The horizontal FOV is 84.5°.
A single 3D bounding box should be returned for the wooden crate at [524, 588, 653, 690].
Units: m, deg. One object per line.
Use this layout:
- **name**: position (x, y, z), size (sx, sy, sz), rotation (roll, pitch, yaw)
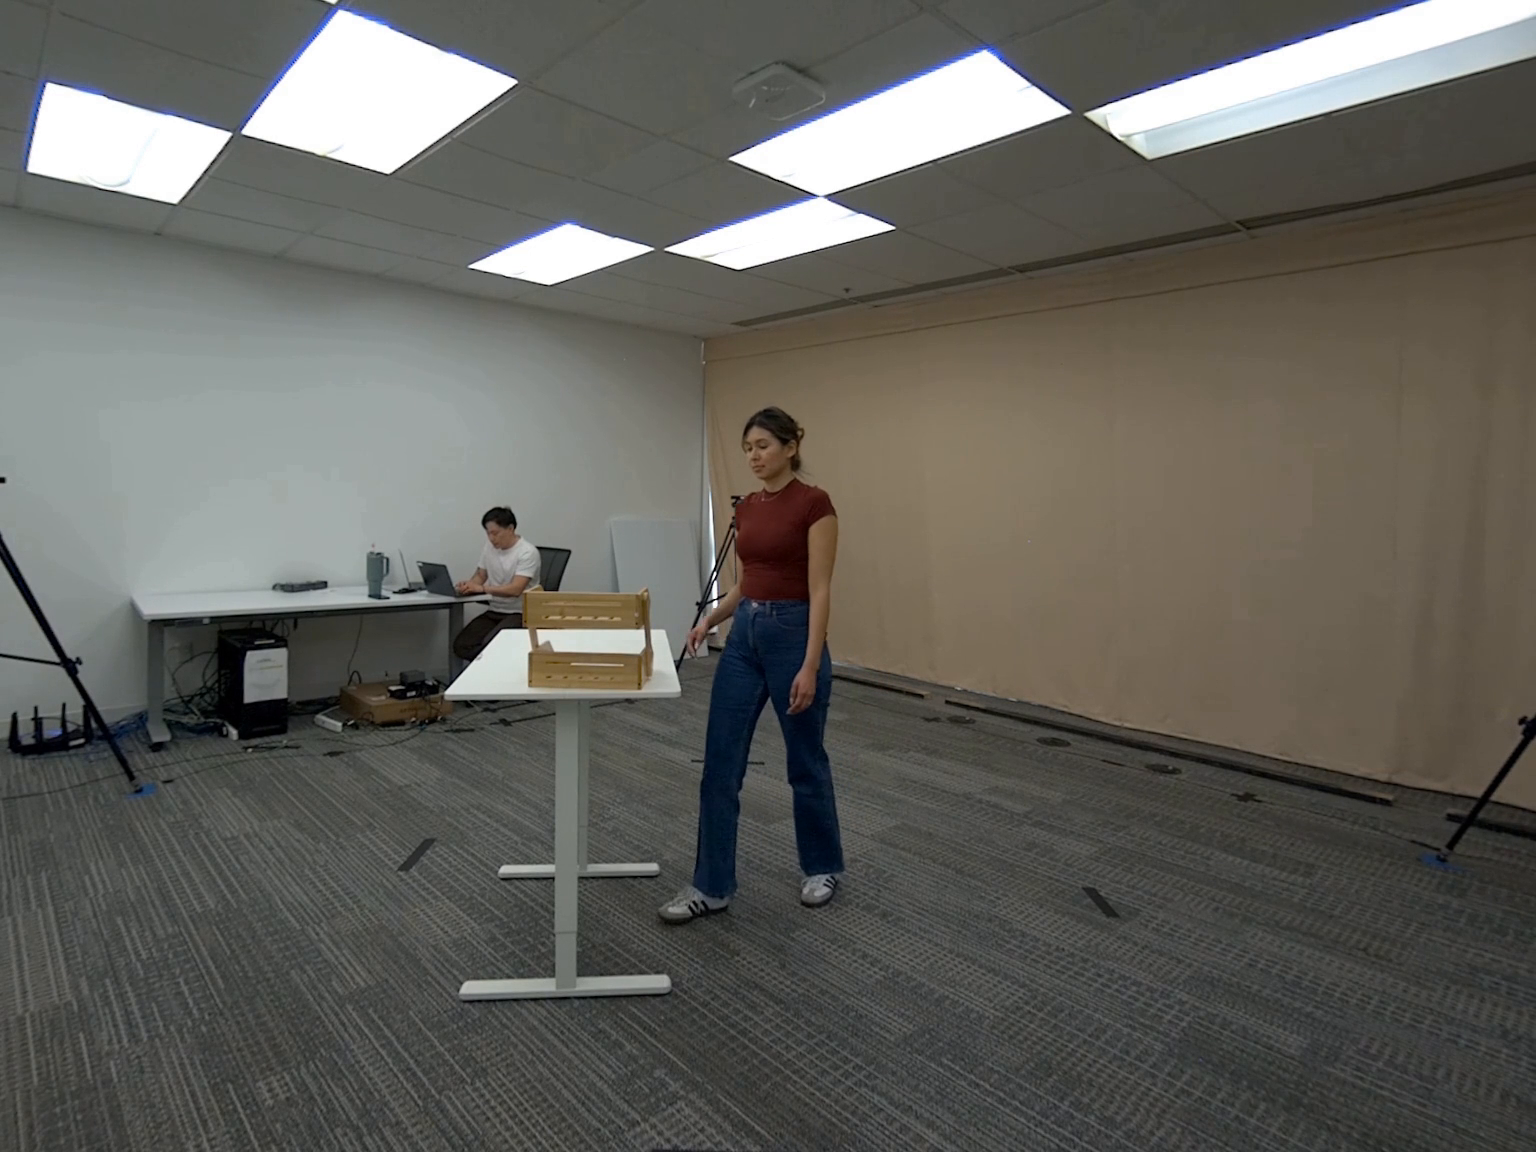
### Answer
- **wooden crate**: position (-0.488, 0.157, 2.303), size (0.325, 0.272, 0.303), rotation (1, 5, 0)
